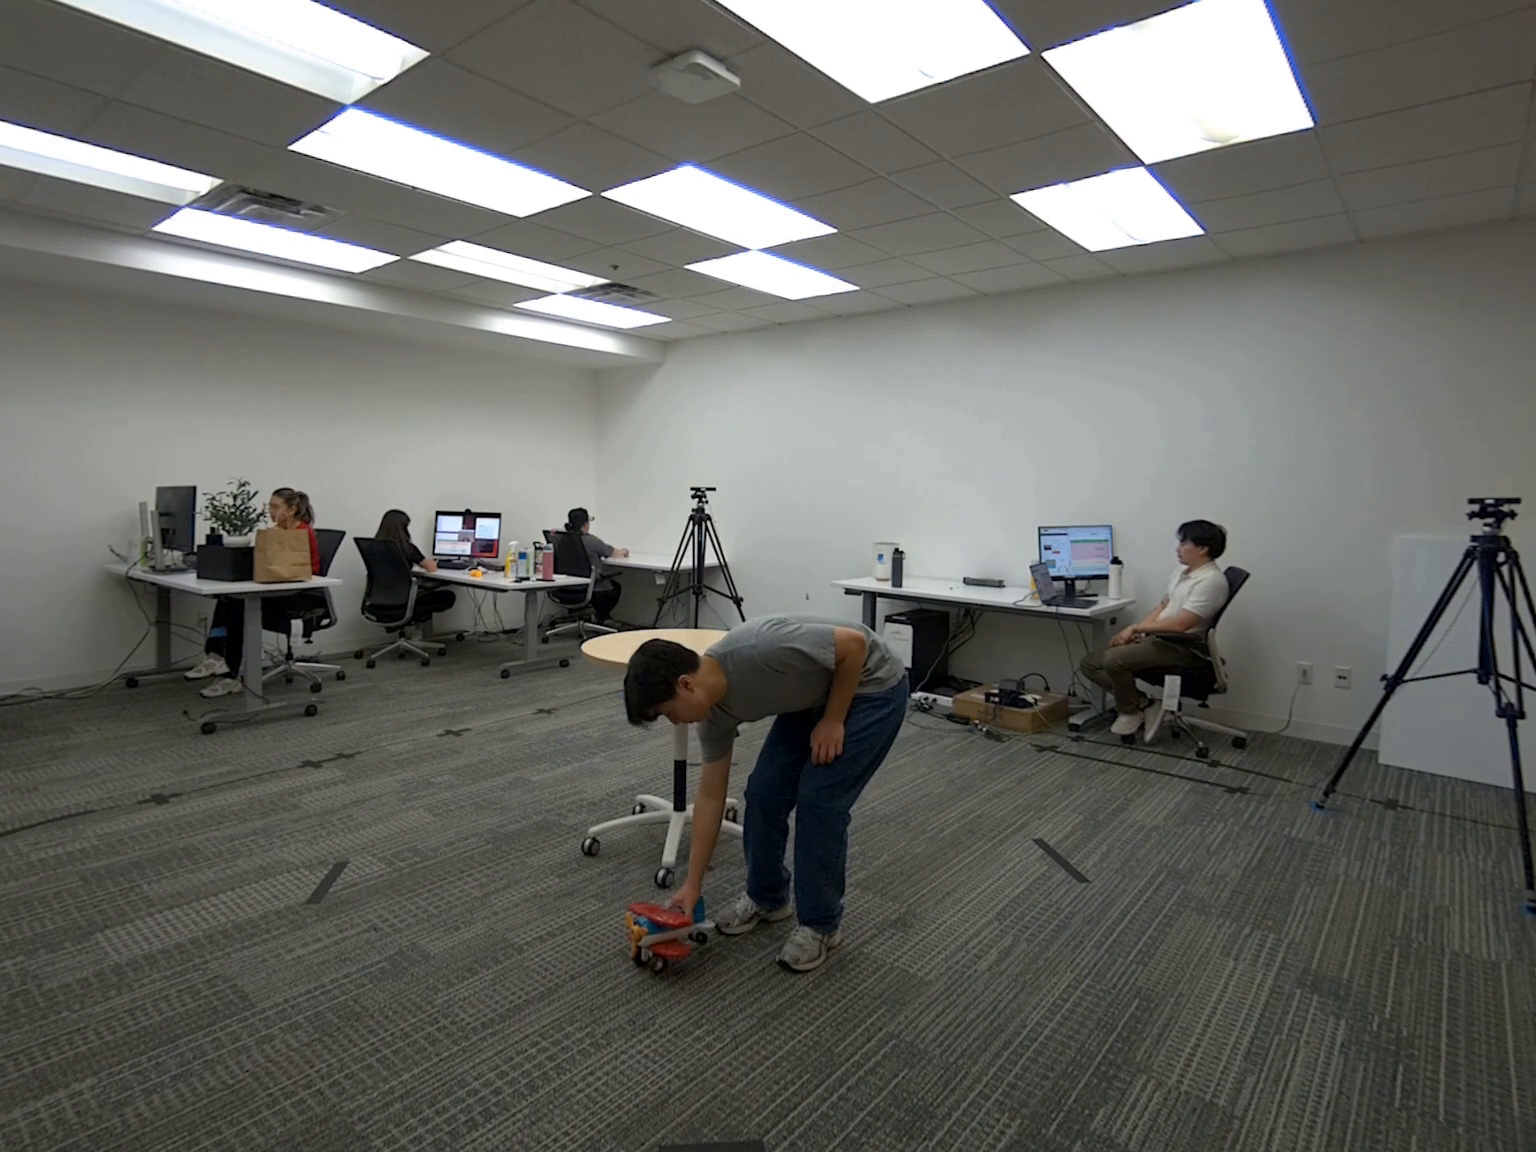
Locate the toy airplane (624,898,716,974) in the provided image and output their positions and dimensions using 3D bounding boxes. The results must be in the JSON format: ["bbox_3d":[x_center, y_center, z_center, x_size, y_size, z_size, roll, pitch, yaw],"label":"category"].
[{"bbox_3d":[-0.305,1.035,2.504,0.256,0.156,0.255,-7,3,21],"label":"toy airplane"}]
